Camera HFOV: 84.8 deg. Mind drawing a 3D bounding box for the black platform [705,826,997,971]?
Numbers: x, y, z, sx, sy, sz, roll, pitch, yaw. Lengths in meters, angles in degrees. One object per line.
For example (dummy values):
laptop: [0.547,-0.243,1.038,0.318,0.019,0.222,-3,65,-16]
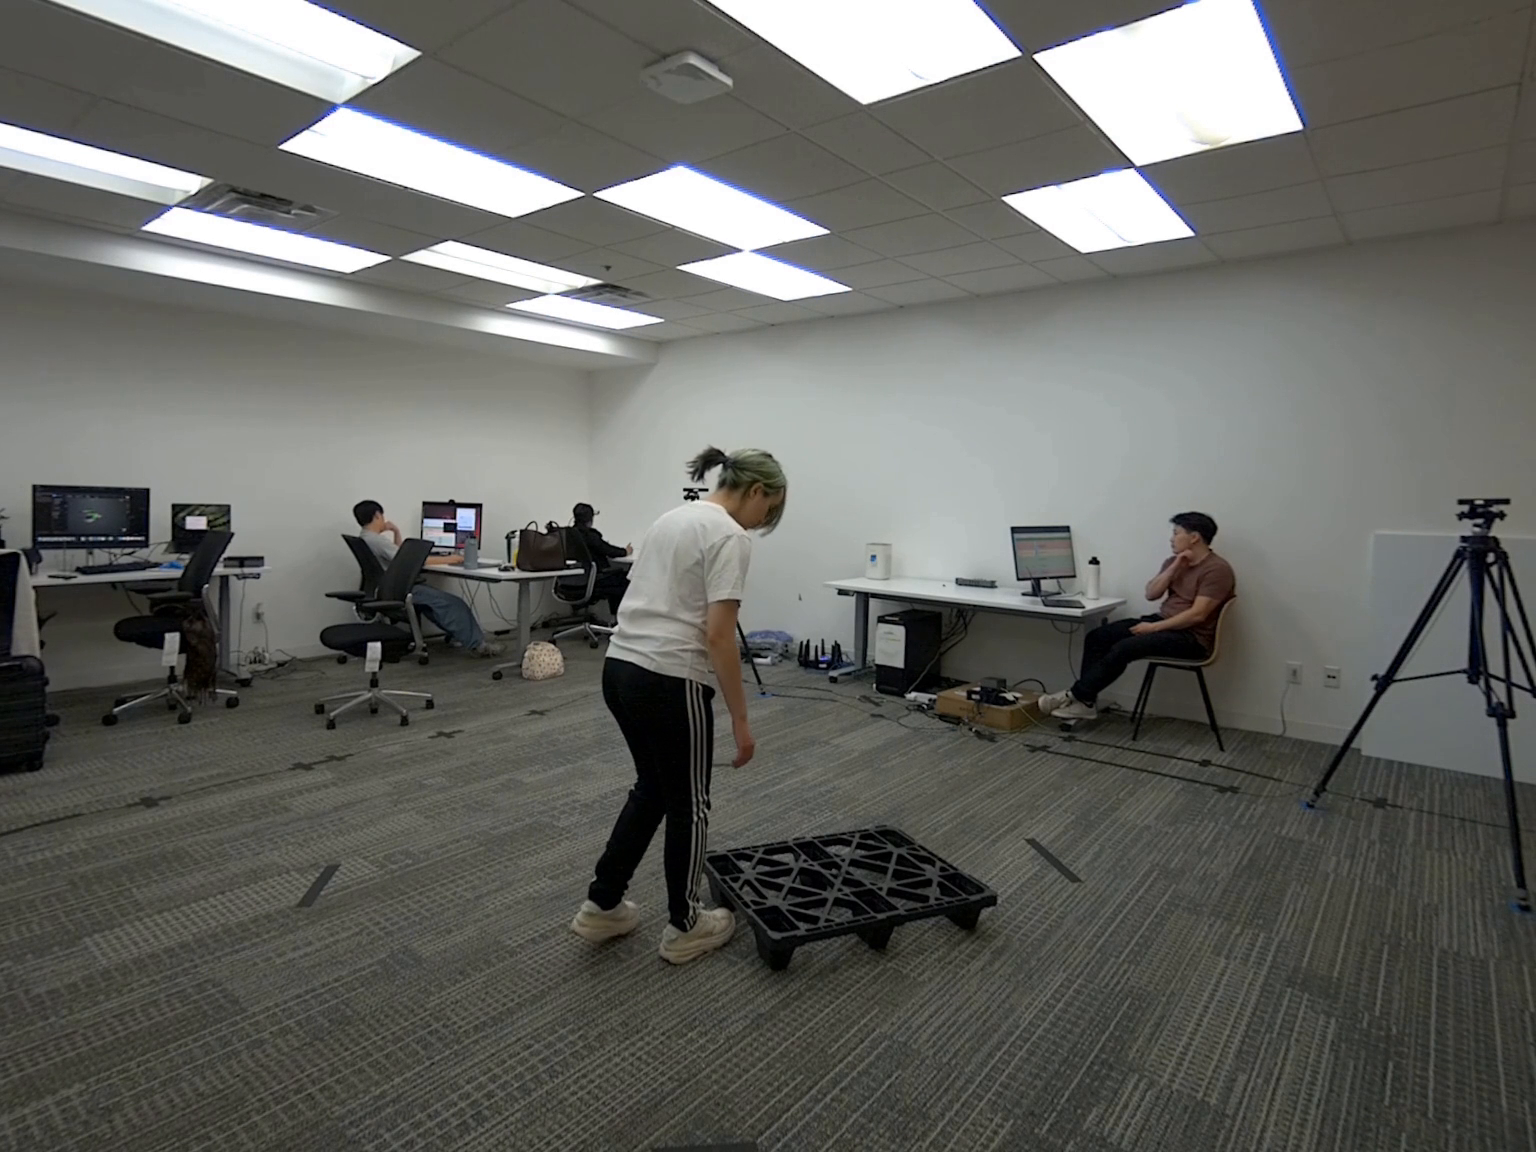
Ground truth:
black platform: [0.236,1.041,2.804,0.787,0.143,0.622,-1,7,-24]
